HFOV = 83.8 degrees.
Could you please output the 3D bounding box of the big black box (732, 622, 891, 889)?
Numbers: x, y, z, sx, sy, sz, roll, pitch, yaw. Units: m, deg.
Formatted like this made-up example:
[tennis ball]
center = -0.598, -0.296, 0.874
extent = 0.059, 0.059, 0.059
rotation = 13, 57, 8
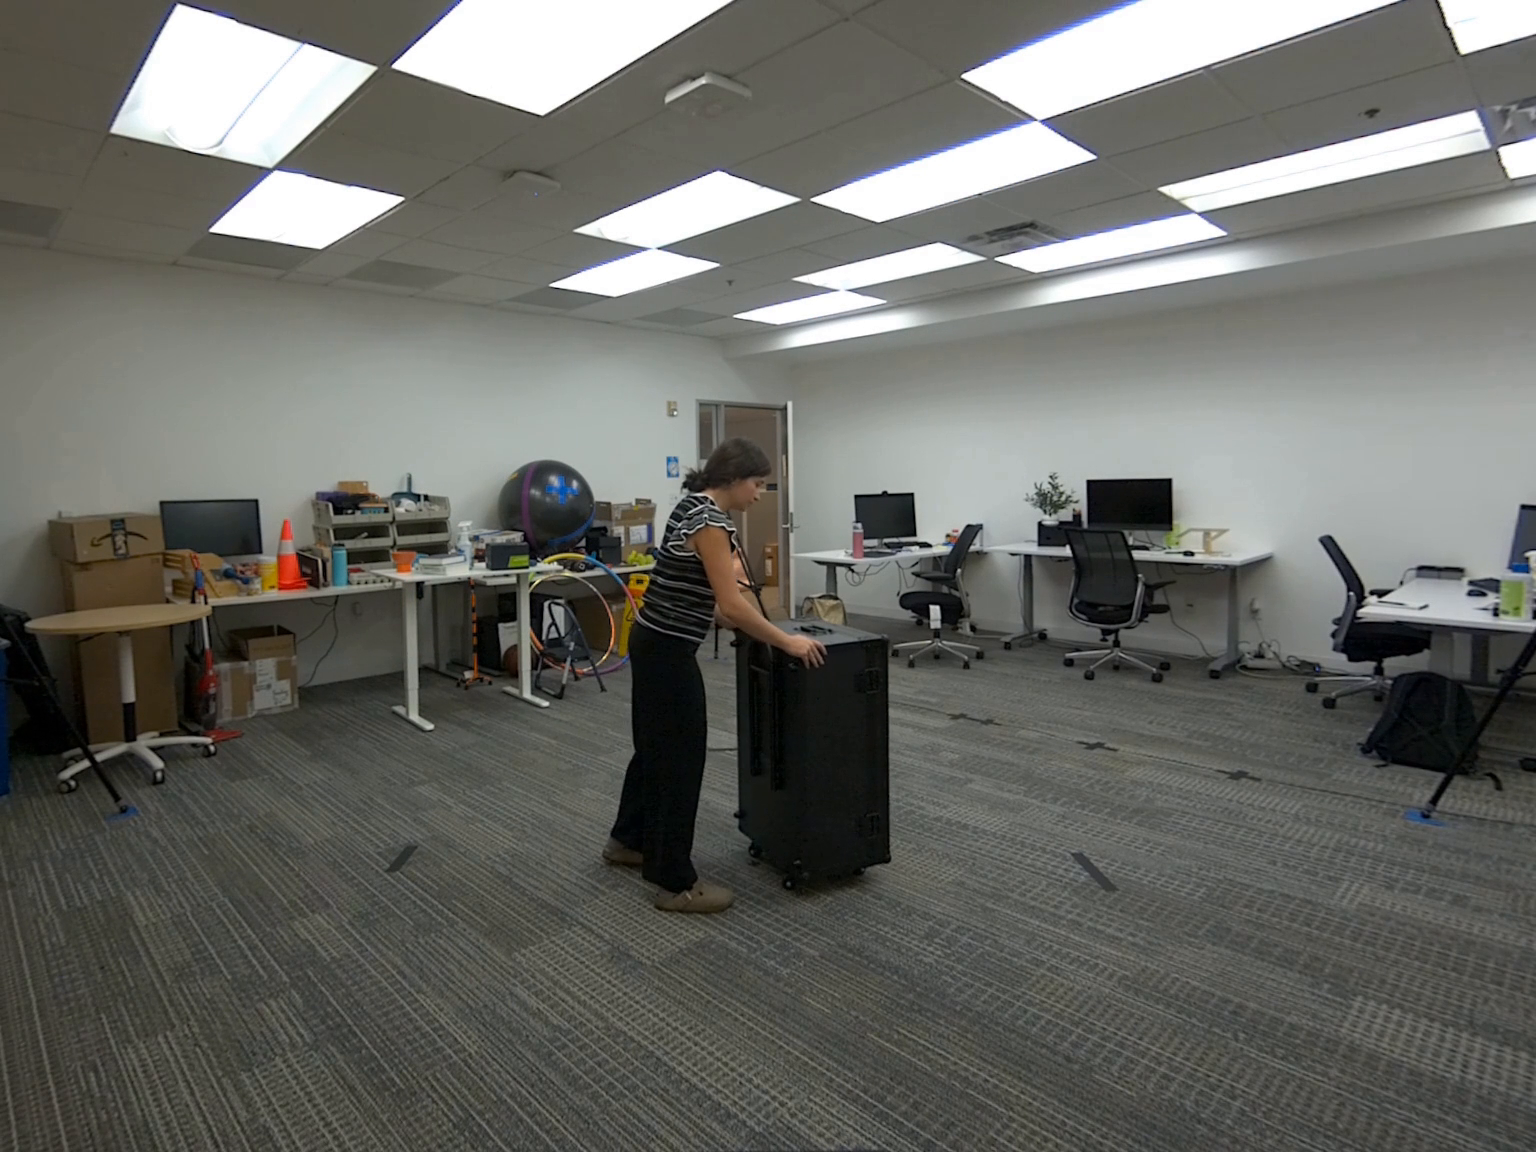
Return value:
[big black box]
center = 0.138, 0.620, 3.059
extent = 0.388, 0.858, 0.534
rotation = -3, 5, -25
